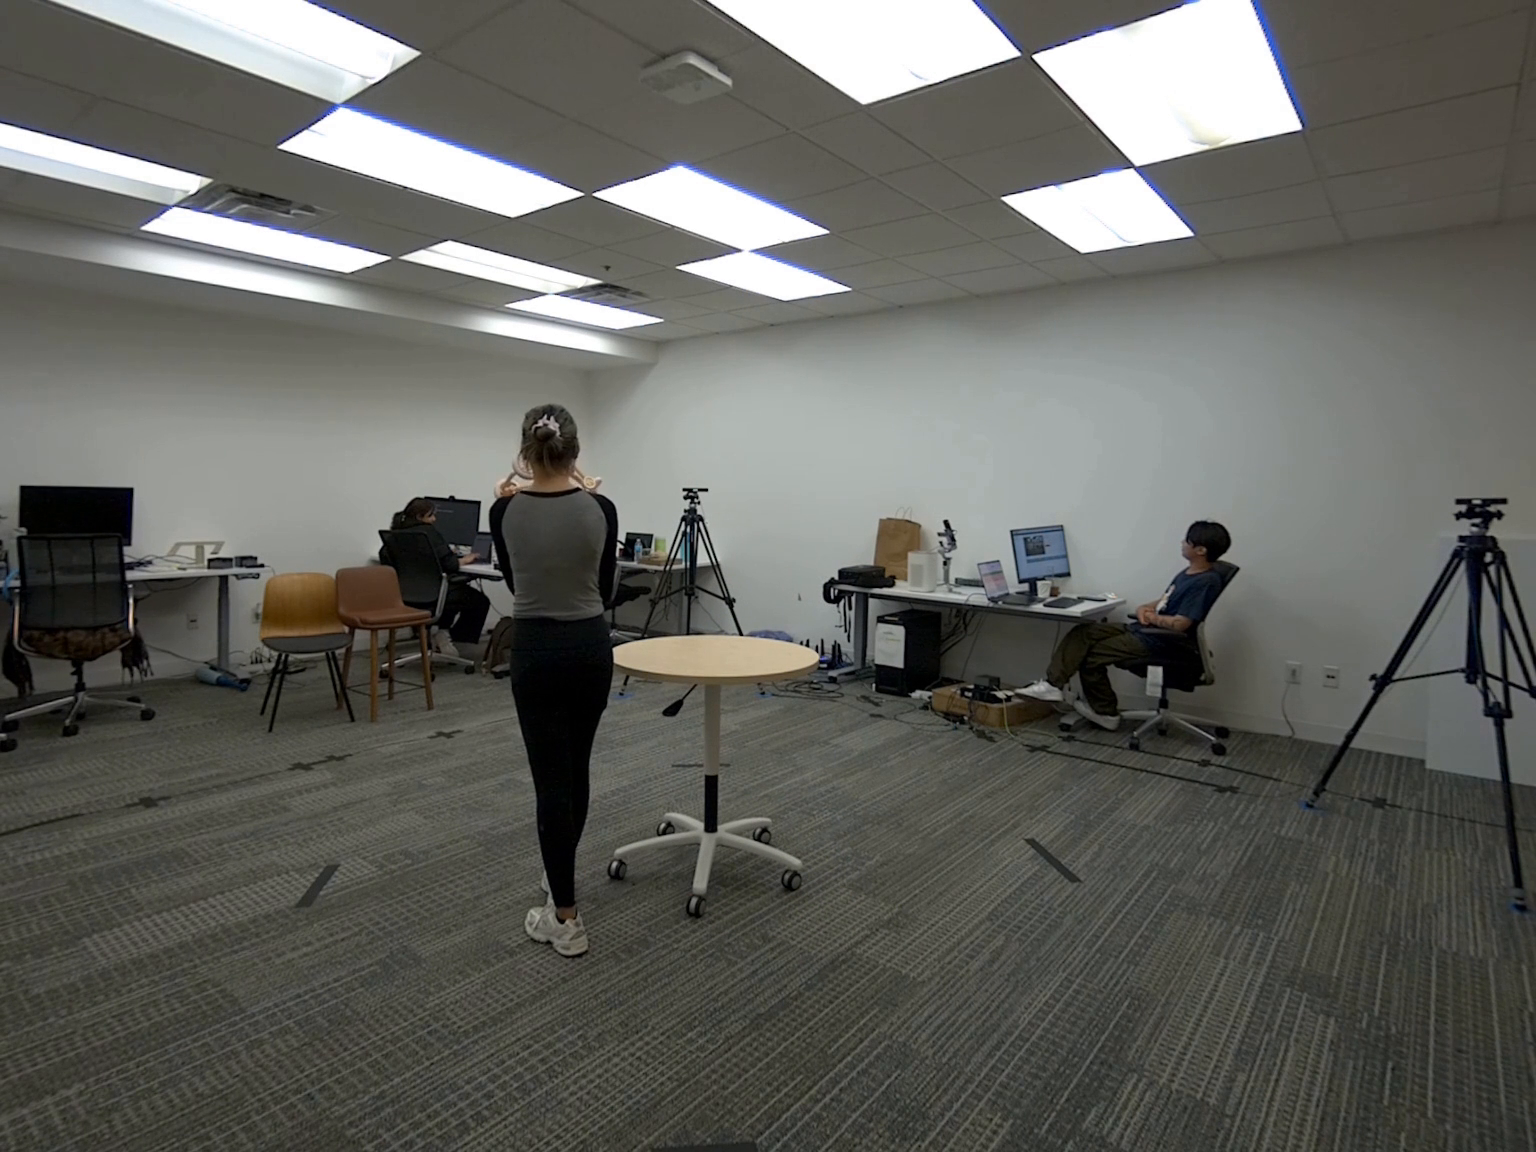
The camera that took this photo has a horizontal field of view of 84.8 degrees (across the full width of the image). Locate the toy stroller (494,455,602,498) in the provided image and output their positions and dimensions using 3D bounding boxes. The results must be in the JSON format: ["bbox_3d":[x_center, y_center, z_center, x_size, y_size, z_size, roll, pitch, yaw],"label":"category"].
[{"bbox_3d":[-0.754,-0.263,3.110,0.336,0.538,0.284,-29,-5,-43],"label":"toy stroller"}]
